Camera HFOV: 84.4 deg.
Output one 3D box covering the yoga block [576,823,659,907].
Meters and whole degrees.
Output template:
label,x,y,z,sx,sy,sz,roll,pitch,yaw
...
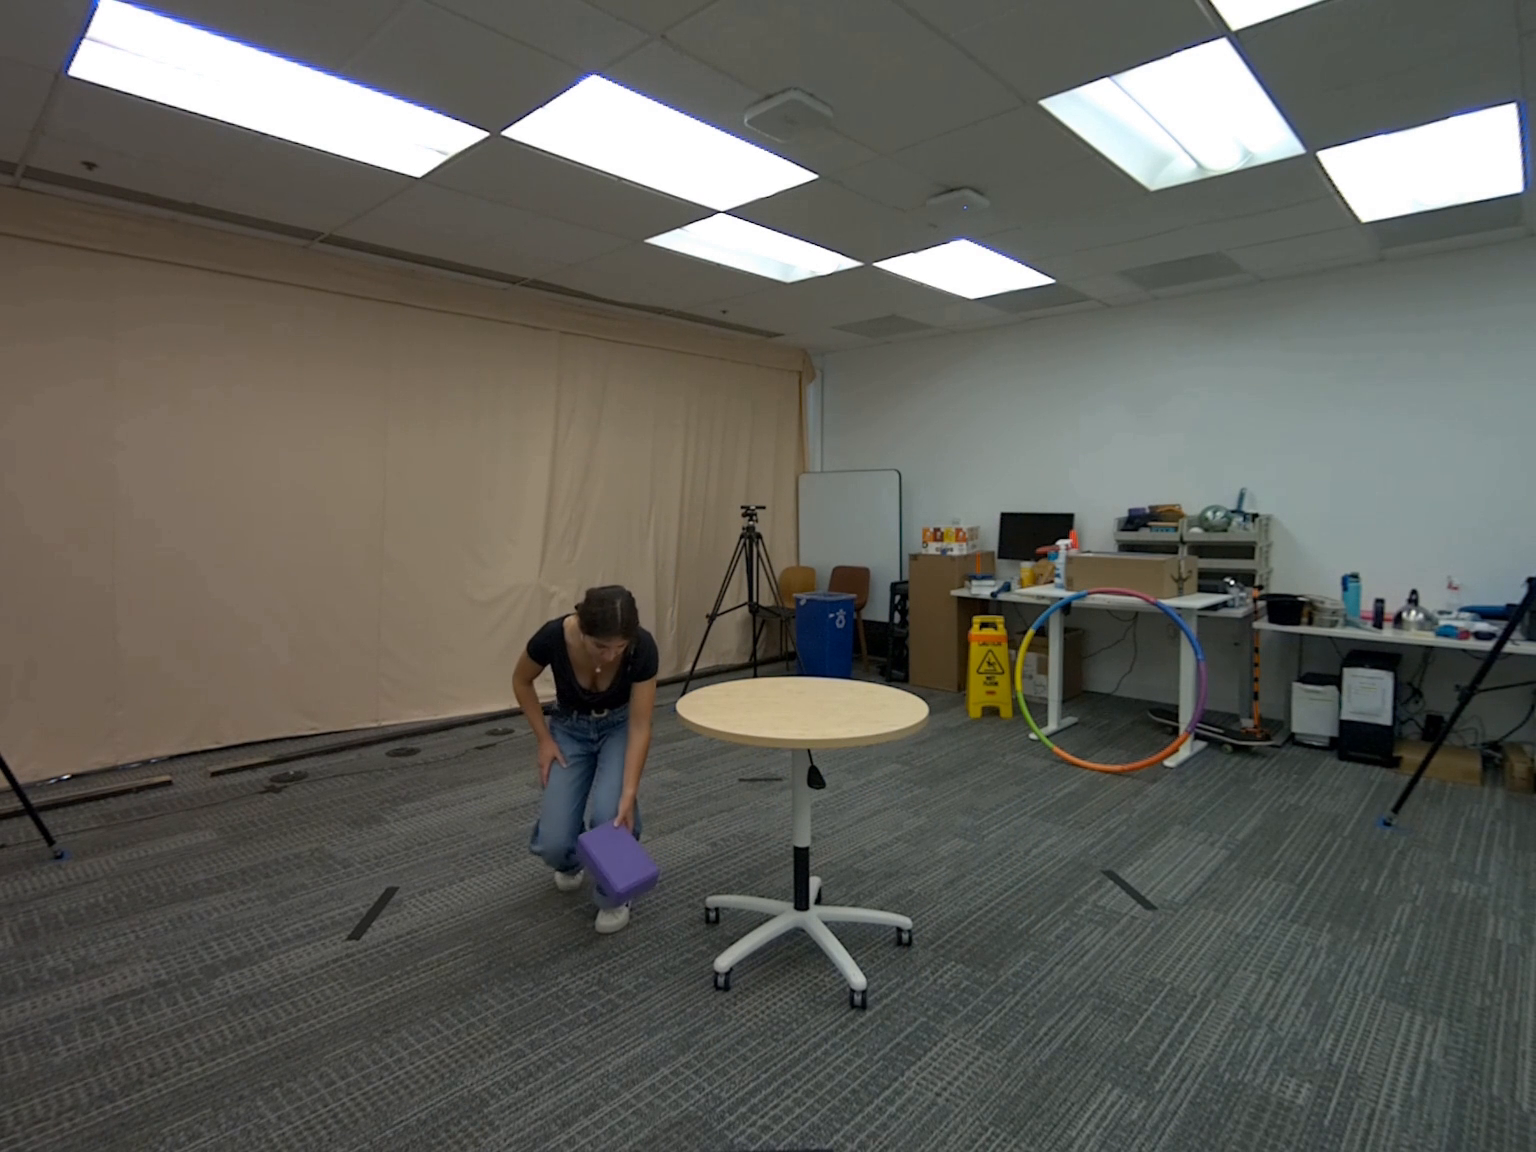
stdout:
label,x,y,z,sx,sy,sz,roll,pitch,yaw
yoga block,-0.430,0.841,2.469,0.145,0.075,0.238,-12,39,-33
